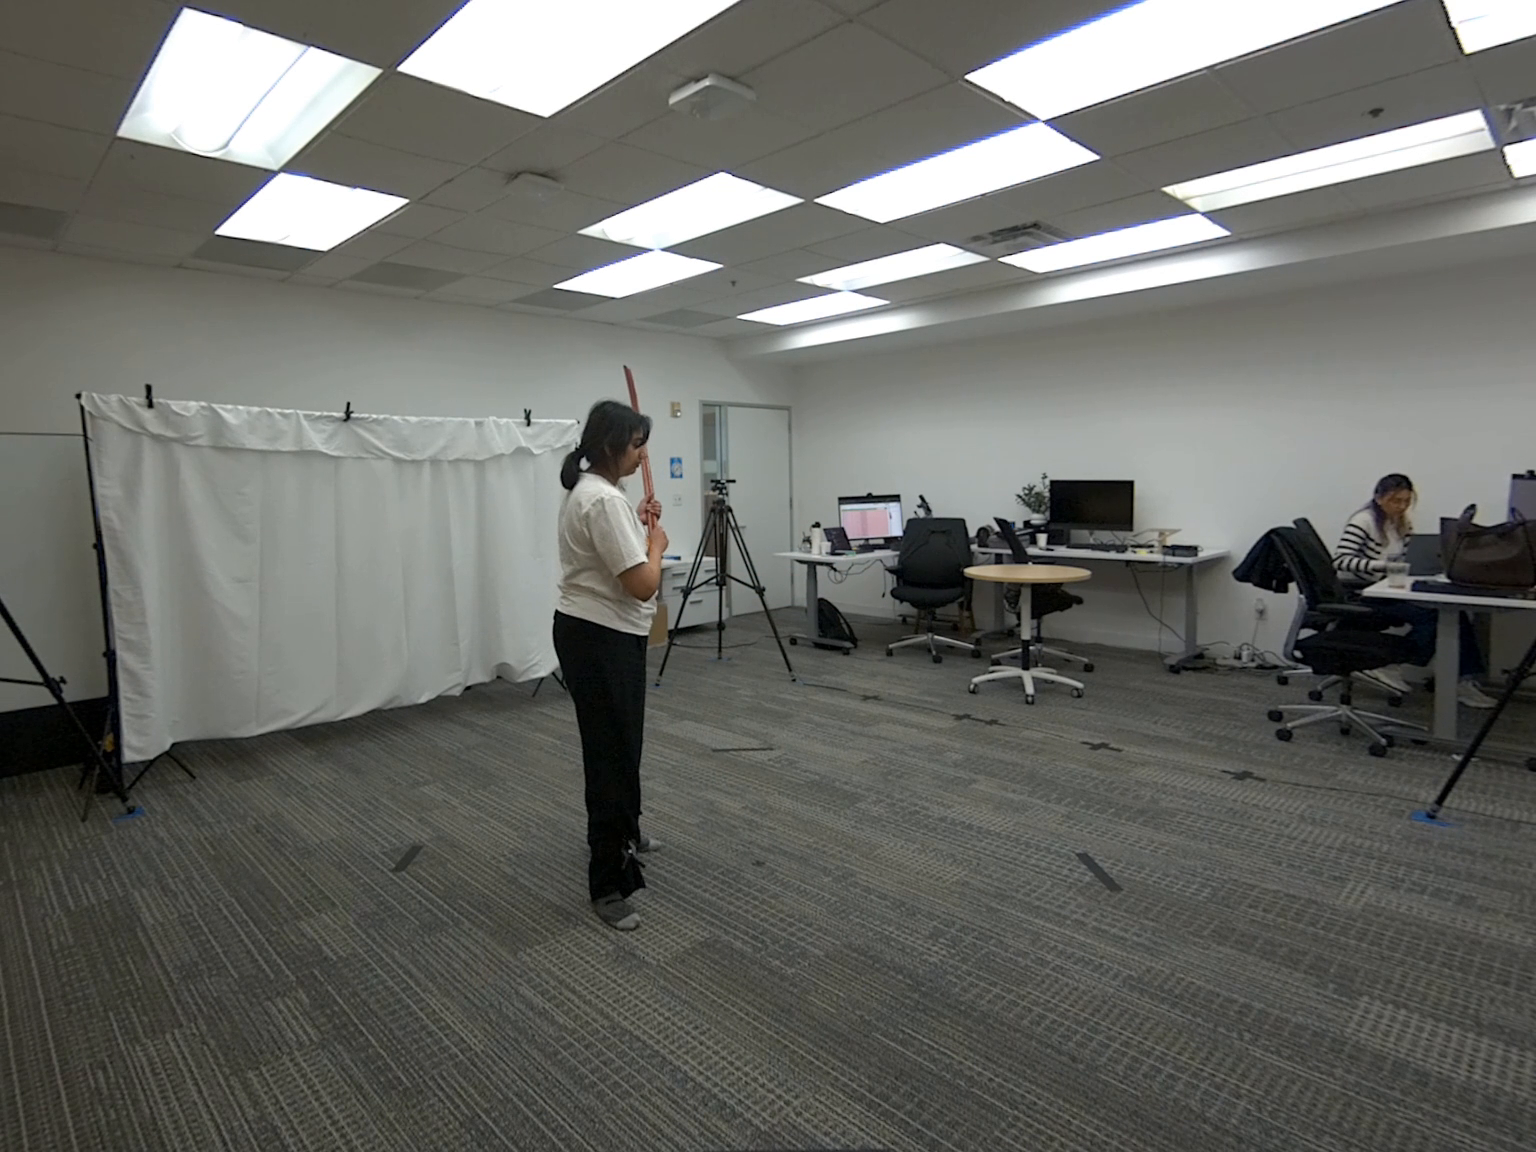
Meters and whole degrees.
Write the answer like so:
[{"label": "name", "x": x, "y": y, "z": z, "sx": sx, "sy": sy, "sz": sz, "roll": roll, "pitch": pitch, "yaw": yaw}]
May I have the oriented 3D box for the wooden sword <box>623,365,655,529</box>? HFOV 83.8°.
[{"label": "wooden sword", "x": -0.493, "y": -0.502, "z": 3.308, "sx": 0.050, "sy": 1.059, "sz": 0.024, "roll": 5, "pitch": -42, "yaw": -26}]
